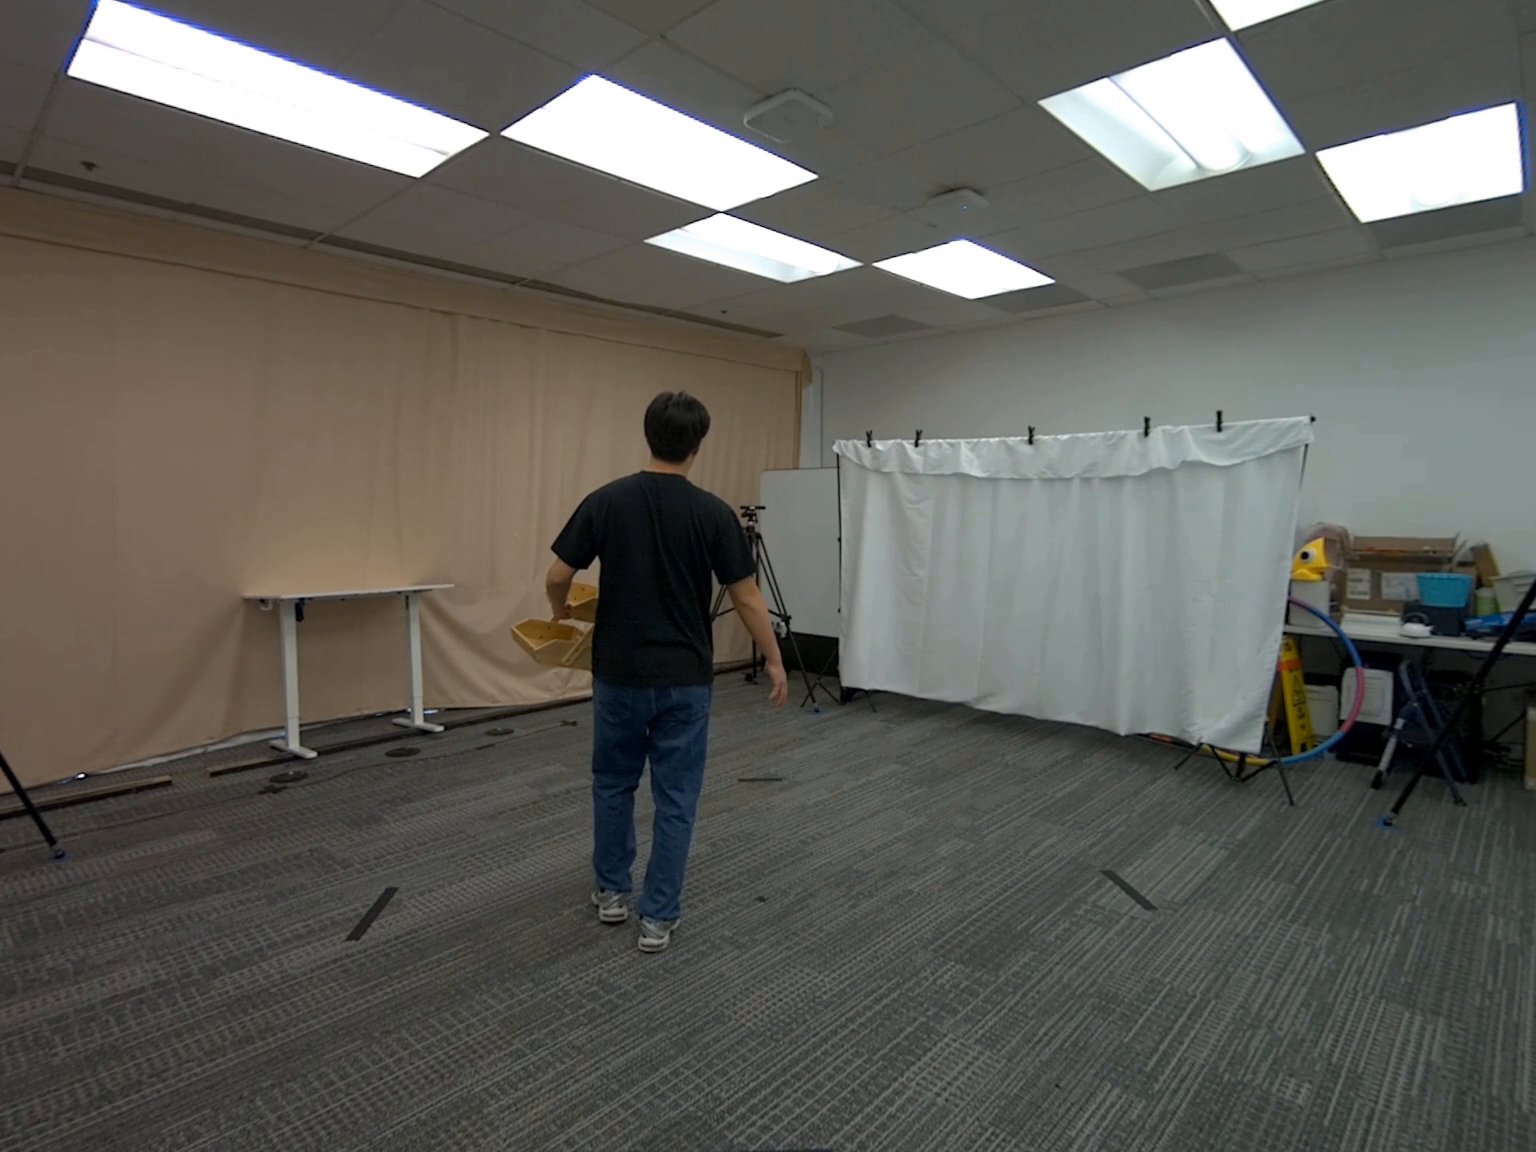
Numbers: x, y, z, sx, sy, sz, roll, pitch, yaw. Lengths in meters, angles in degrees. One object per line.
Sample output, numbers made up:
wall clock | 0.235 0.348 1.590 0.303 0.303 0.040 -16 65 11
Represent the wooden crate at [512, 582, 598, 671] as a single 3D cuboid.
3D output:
wooden crate | -0.720 0.166 3.047 0.292 0.273 0.335 14 4 -33
